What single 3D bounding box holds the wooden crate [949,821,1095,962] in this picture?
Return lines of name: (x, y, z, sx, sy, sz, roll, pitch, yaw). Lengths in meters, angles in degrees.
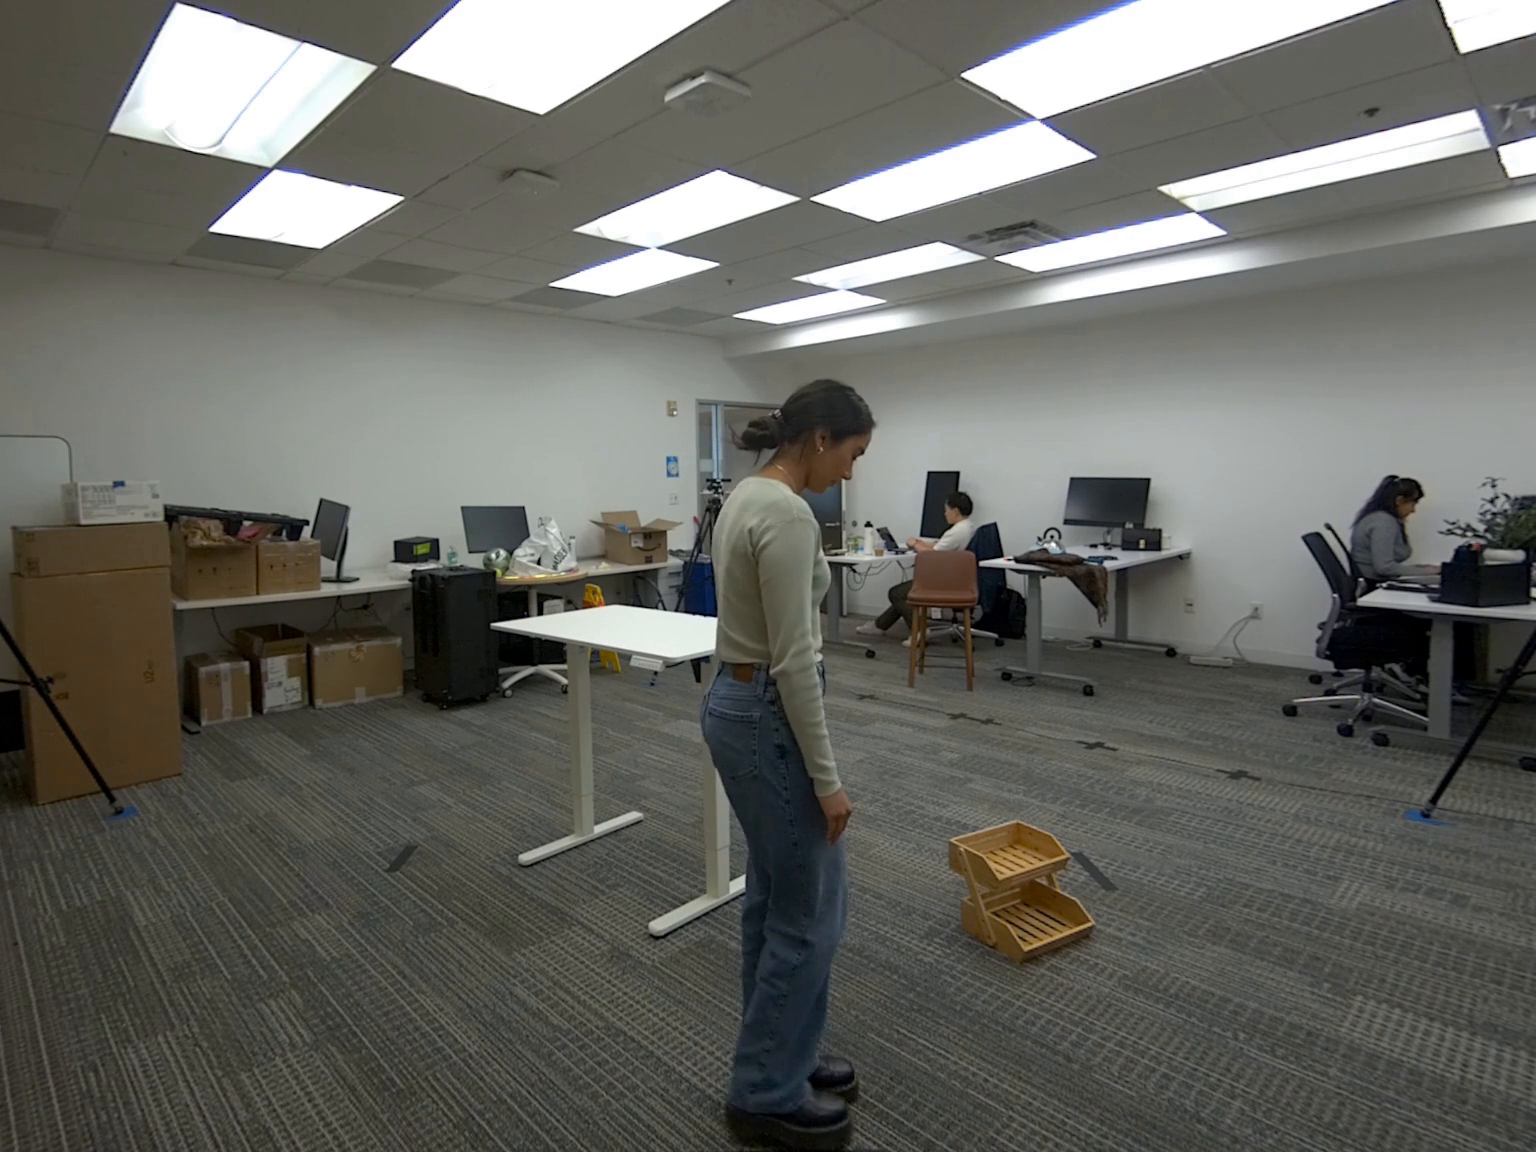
wooden crate: (0.781, 0.954, 2.610, 0.317, 0.272, 0.310, -5, 6, -31)
